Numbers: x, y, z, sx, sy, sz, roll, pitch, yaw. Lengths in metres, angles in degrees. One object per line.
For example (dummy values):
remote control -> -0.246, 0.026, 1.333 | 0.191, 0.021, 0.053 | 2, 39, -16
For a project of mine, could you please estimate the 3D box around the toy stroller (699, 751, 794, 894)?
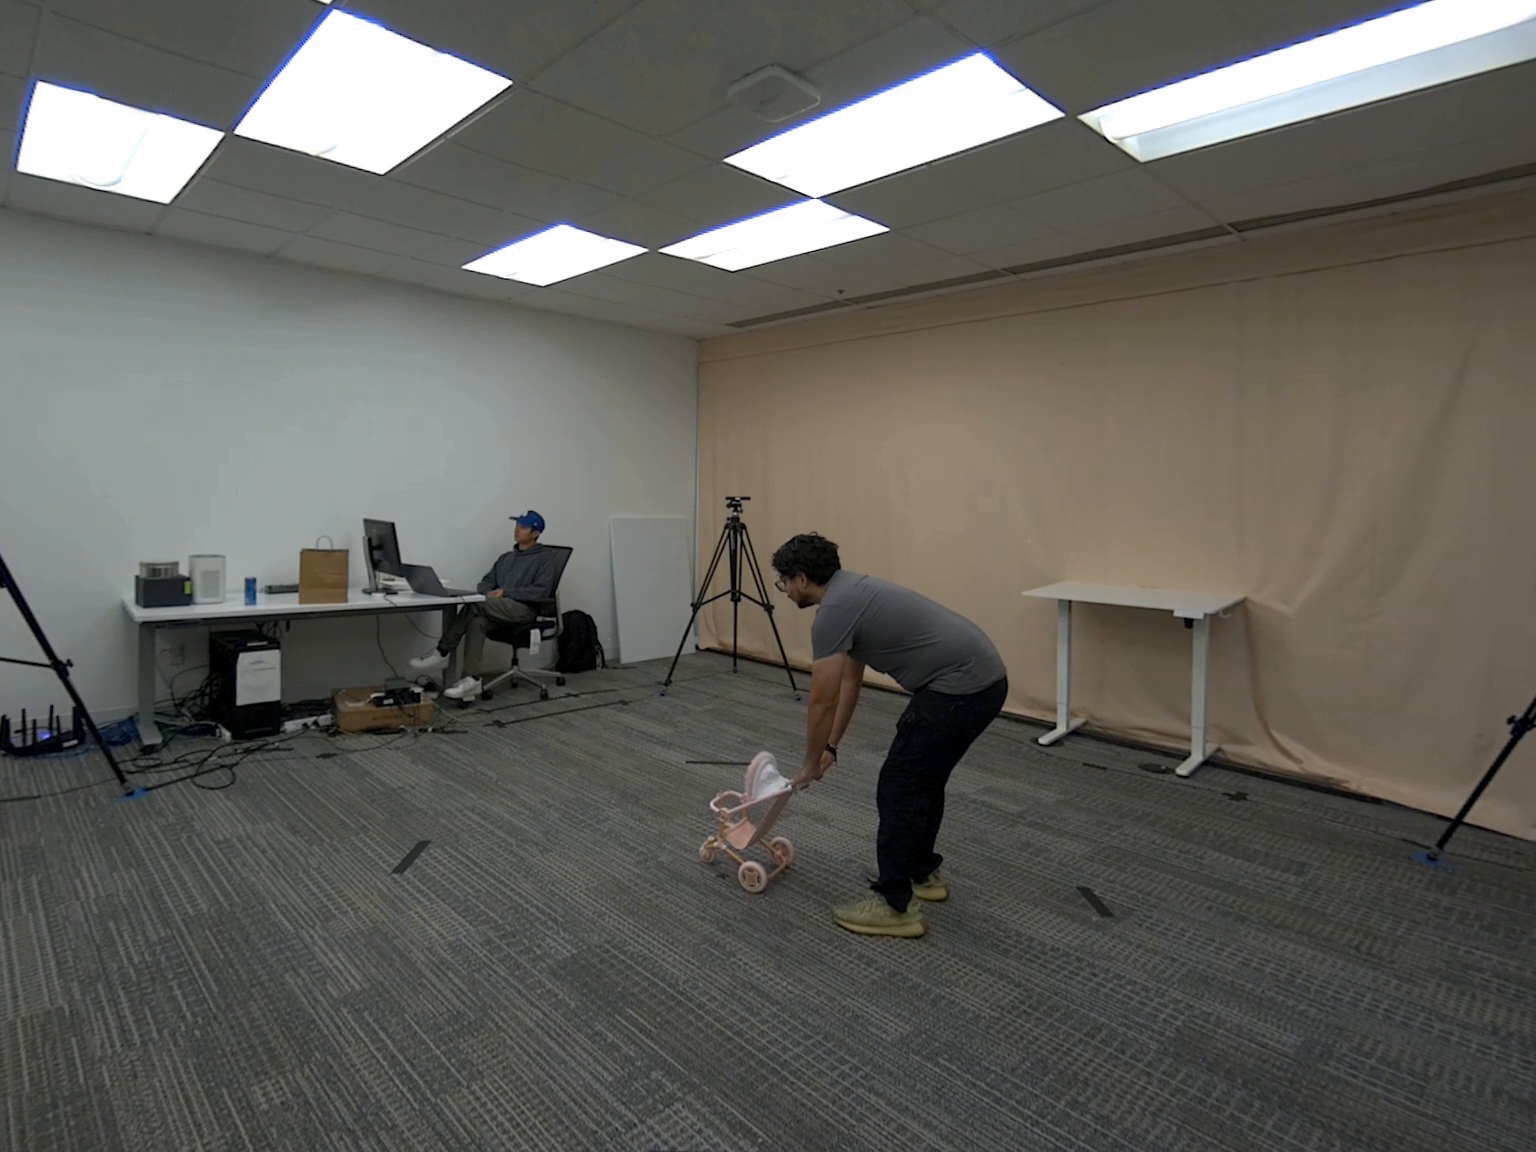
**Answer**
toy stroller -> -0.057, 0.885, 3.113 | 0.350, 0.532, 0.275 | 23, 13, 29
